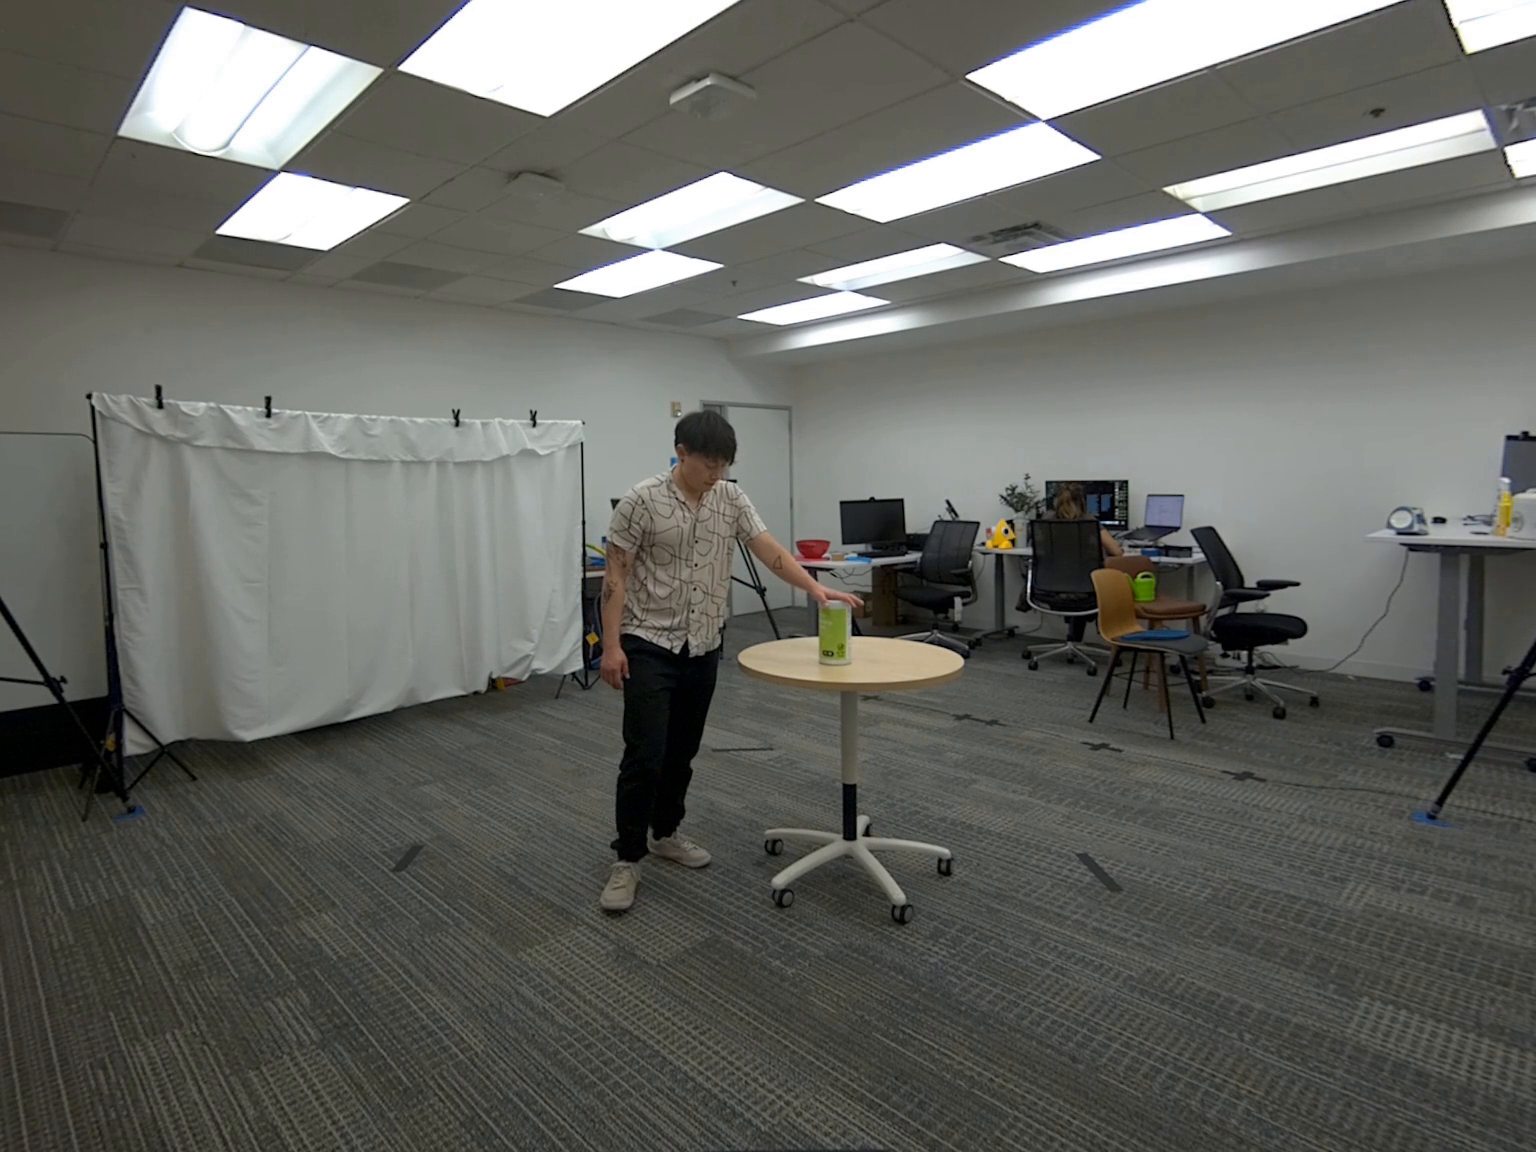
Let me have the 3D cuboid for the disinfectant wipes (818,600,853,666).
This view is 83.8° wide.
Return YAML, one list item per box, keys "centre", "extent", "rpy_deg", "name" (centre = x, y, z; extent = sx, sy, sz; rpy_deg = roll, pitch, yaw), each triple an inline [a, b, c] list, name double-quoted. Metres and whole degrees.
- centre: [0.223, 0.182, 2.850]
  extent: [0.118, 0.217, 0.118]
  rpy_deg: [-1, 4, -2]
  name: "disinfectant wipes"
